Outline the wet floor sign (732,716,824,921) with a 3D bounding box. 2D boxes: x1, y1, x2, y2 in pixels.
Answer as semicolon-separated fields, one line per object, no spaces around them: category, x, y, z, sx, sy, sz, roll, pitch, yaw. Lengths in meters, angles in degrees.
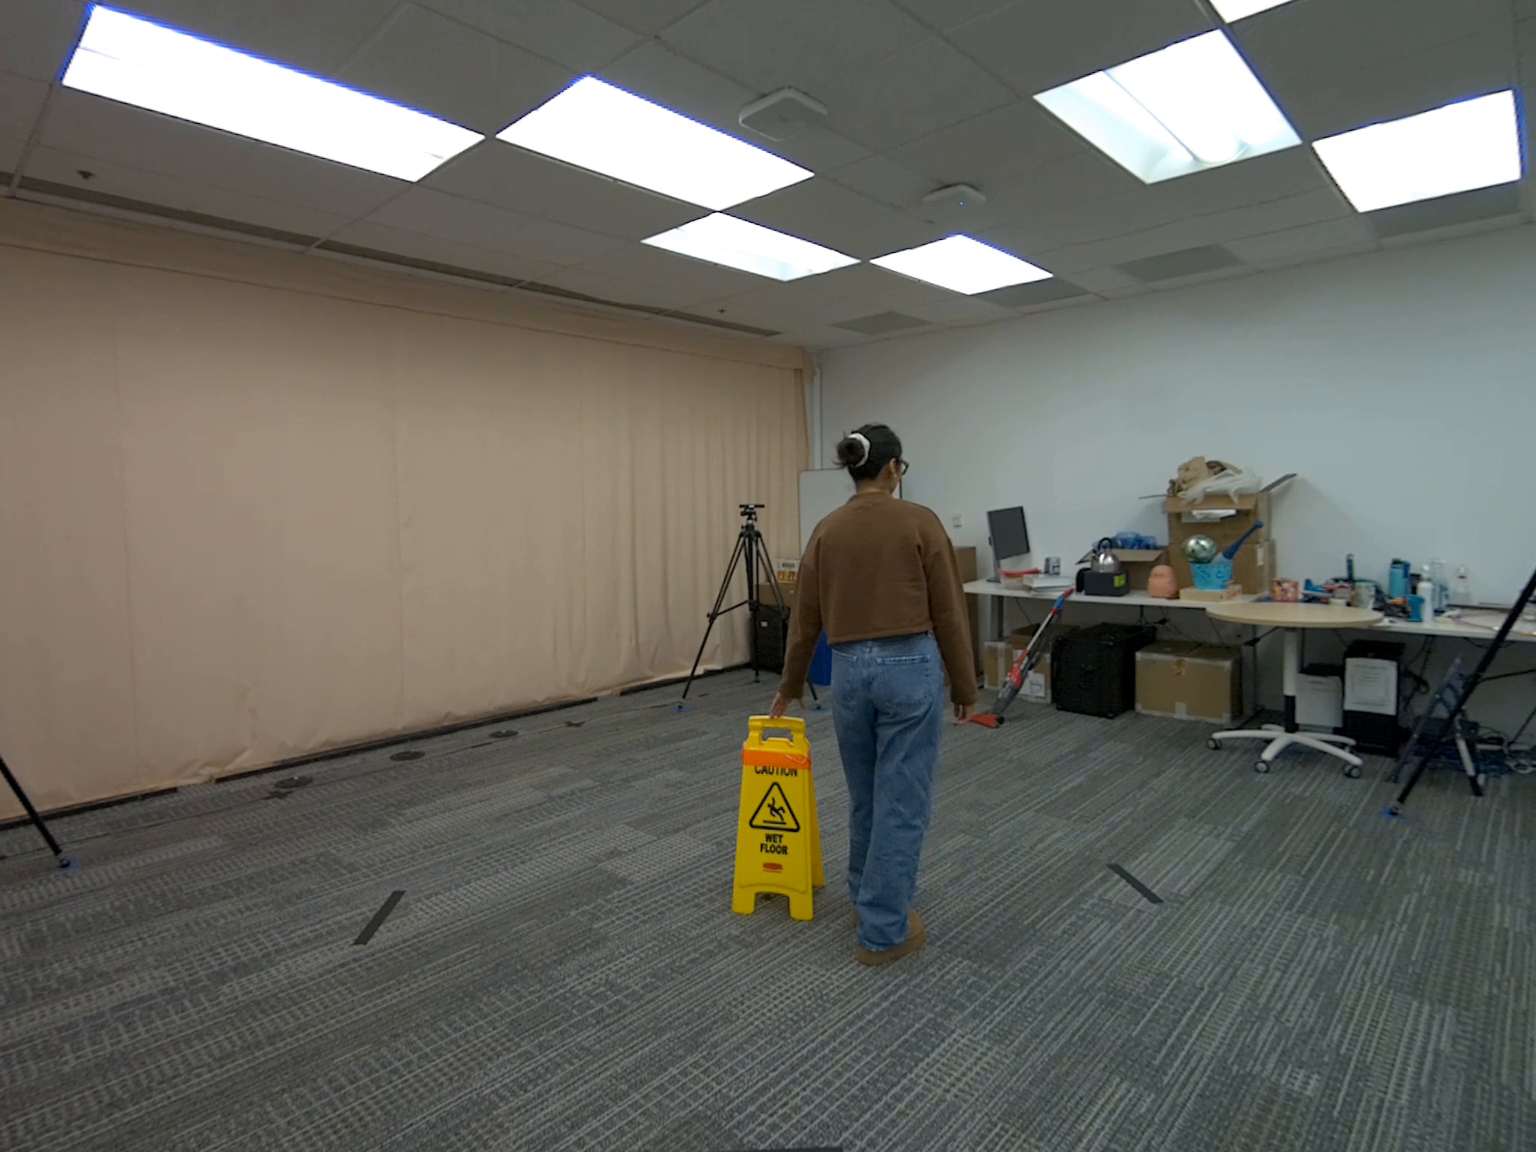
wet floor sign;0.040;0.816;2.964;0.287;0.645;0.286;1;3;13
